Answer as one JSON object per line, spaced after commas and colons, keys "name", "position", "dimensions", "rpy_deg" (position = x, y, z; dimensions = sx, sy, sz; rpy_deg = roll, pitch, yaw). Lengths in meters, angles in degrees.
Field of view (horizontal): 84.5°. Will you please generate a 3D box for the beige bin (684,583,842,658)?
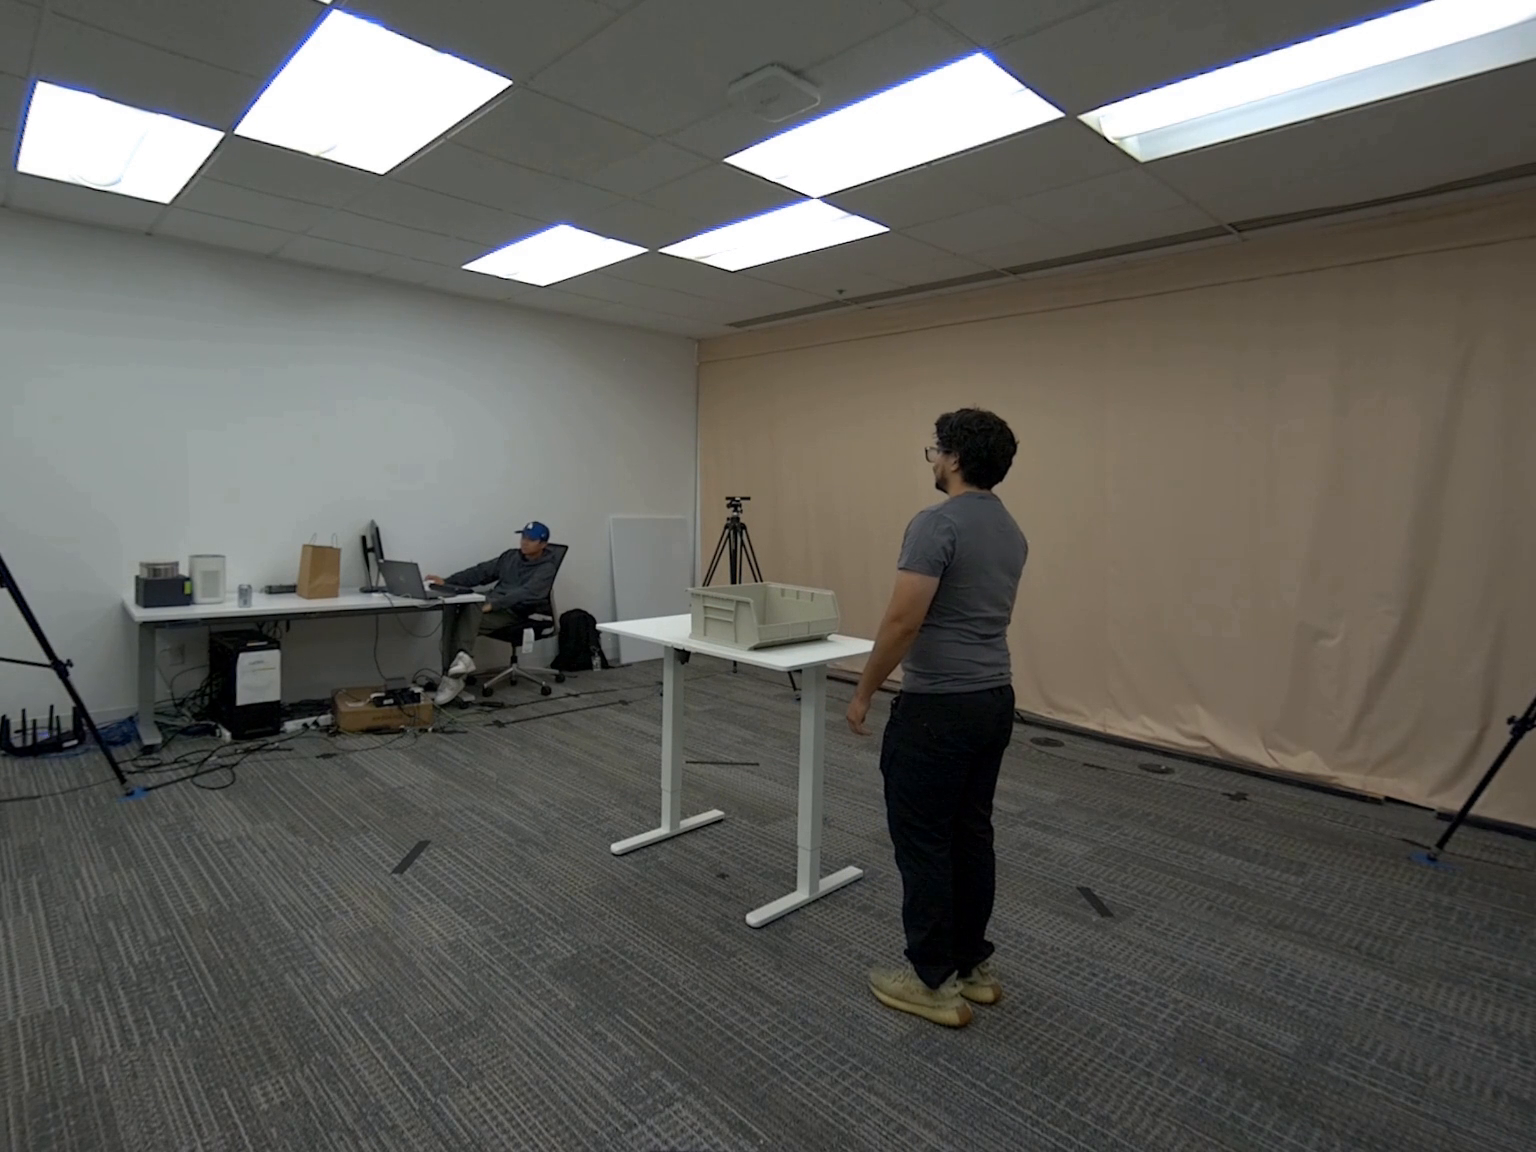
{"name": "beige bin", "position": [-0.019, 0.146, 3.051], "dimensions": [0.413, 0.188, 0.387], "rpy_deg": [-4, 6, -44]}
